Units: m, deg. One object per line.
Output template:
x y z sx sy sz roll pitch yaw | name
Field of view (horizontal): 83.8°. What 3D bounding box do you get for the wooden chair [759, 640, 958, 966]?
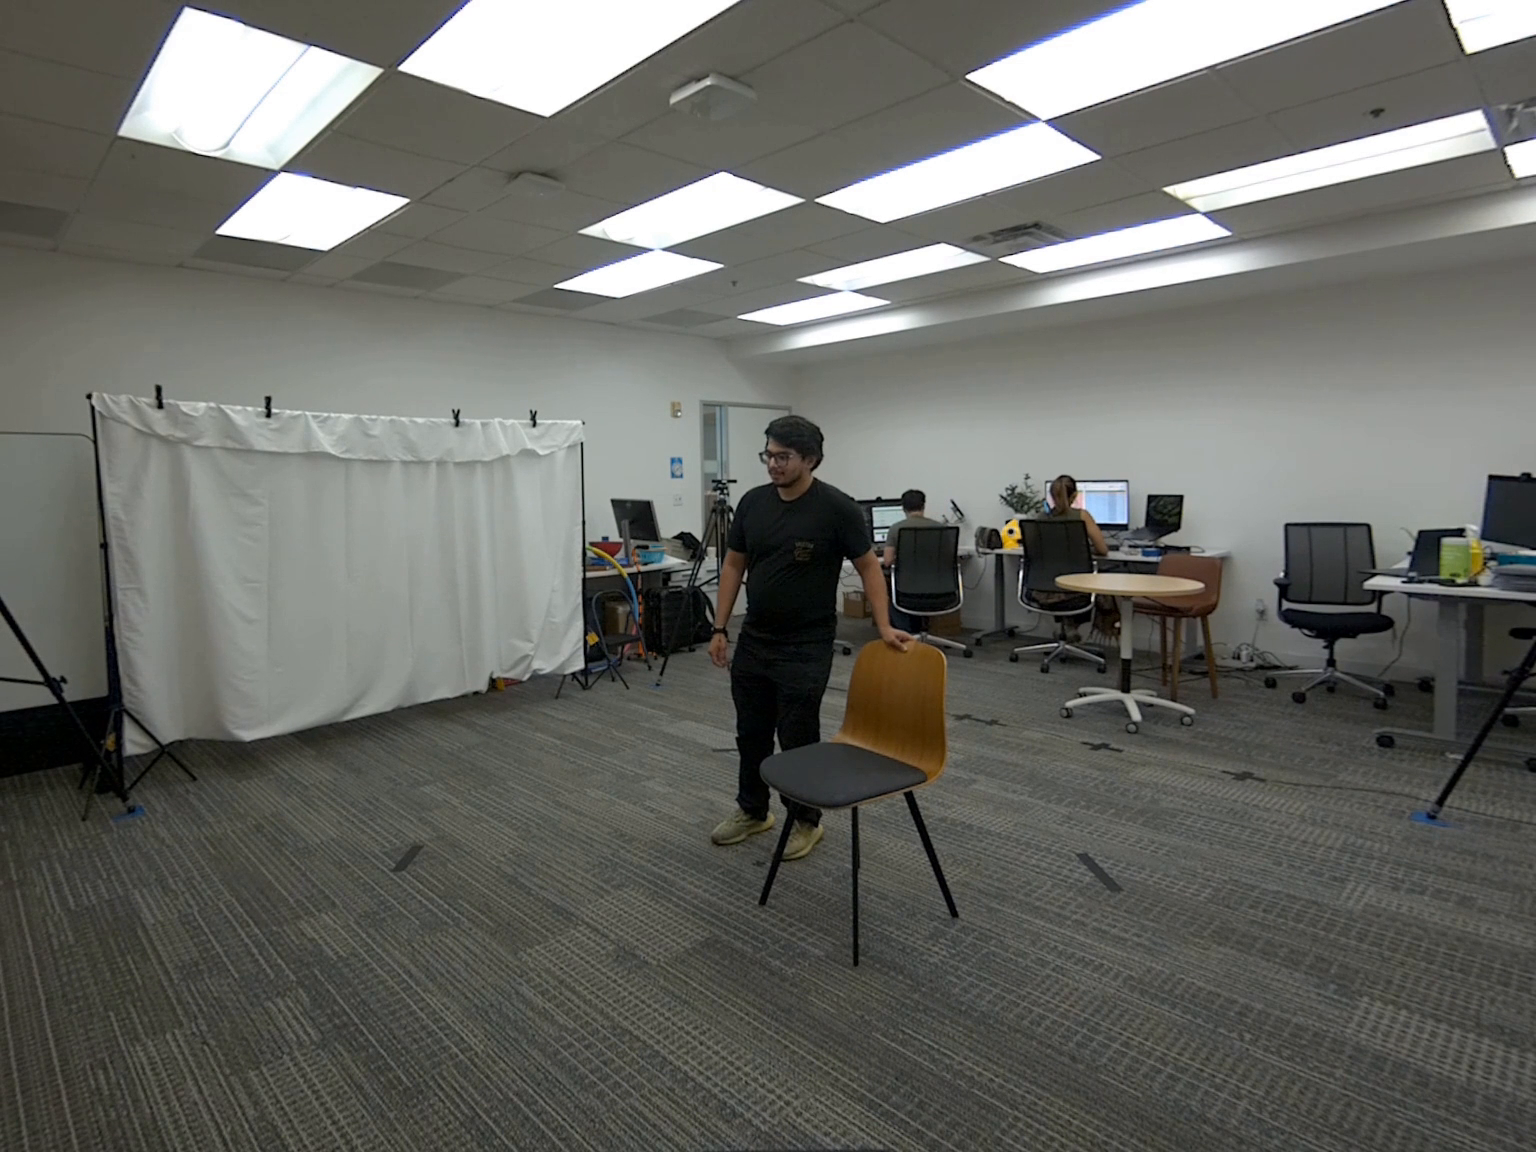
0.277 0.660 2.716 0.508 0.876 0.492 1 2 -38 | wooden chair
